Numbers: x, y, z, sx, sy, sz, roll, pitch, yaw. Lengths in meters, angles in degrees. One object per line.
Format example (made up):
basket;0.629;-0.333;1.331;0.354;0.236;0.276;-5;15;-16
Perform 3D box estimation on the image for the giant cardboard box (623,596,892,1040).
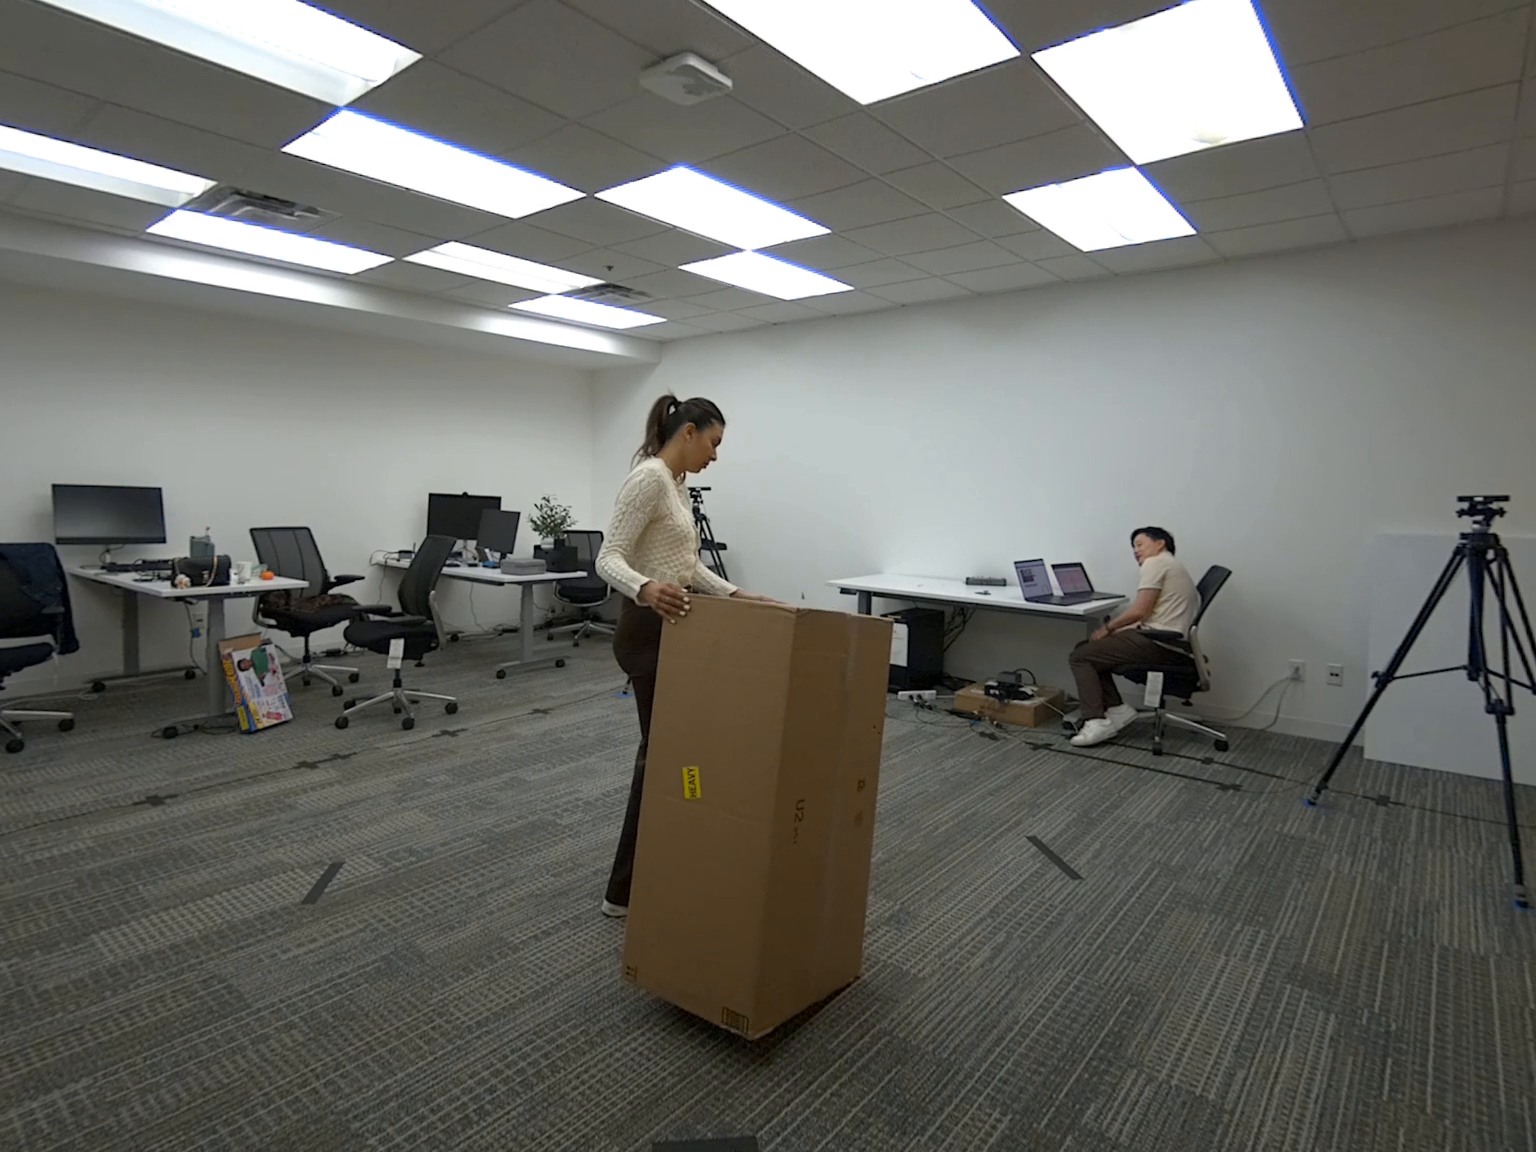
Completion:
giant cardboard box;-0.012;0.595;2.384;0.440;1.030;0.557;3;-5;34
